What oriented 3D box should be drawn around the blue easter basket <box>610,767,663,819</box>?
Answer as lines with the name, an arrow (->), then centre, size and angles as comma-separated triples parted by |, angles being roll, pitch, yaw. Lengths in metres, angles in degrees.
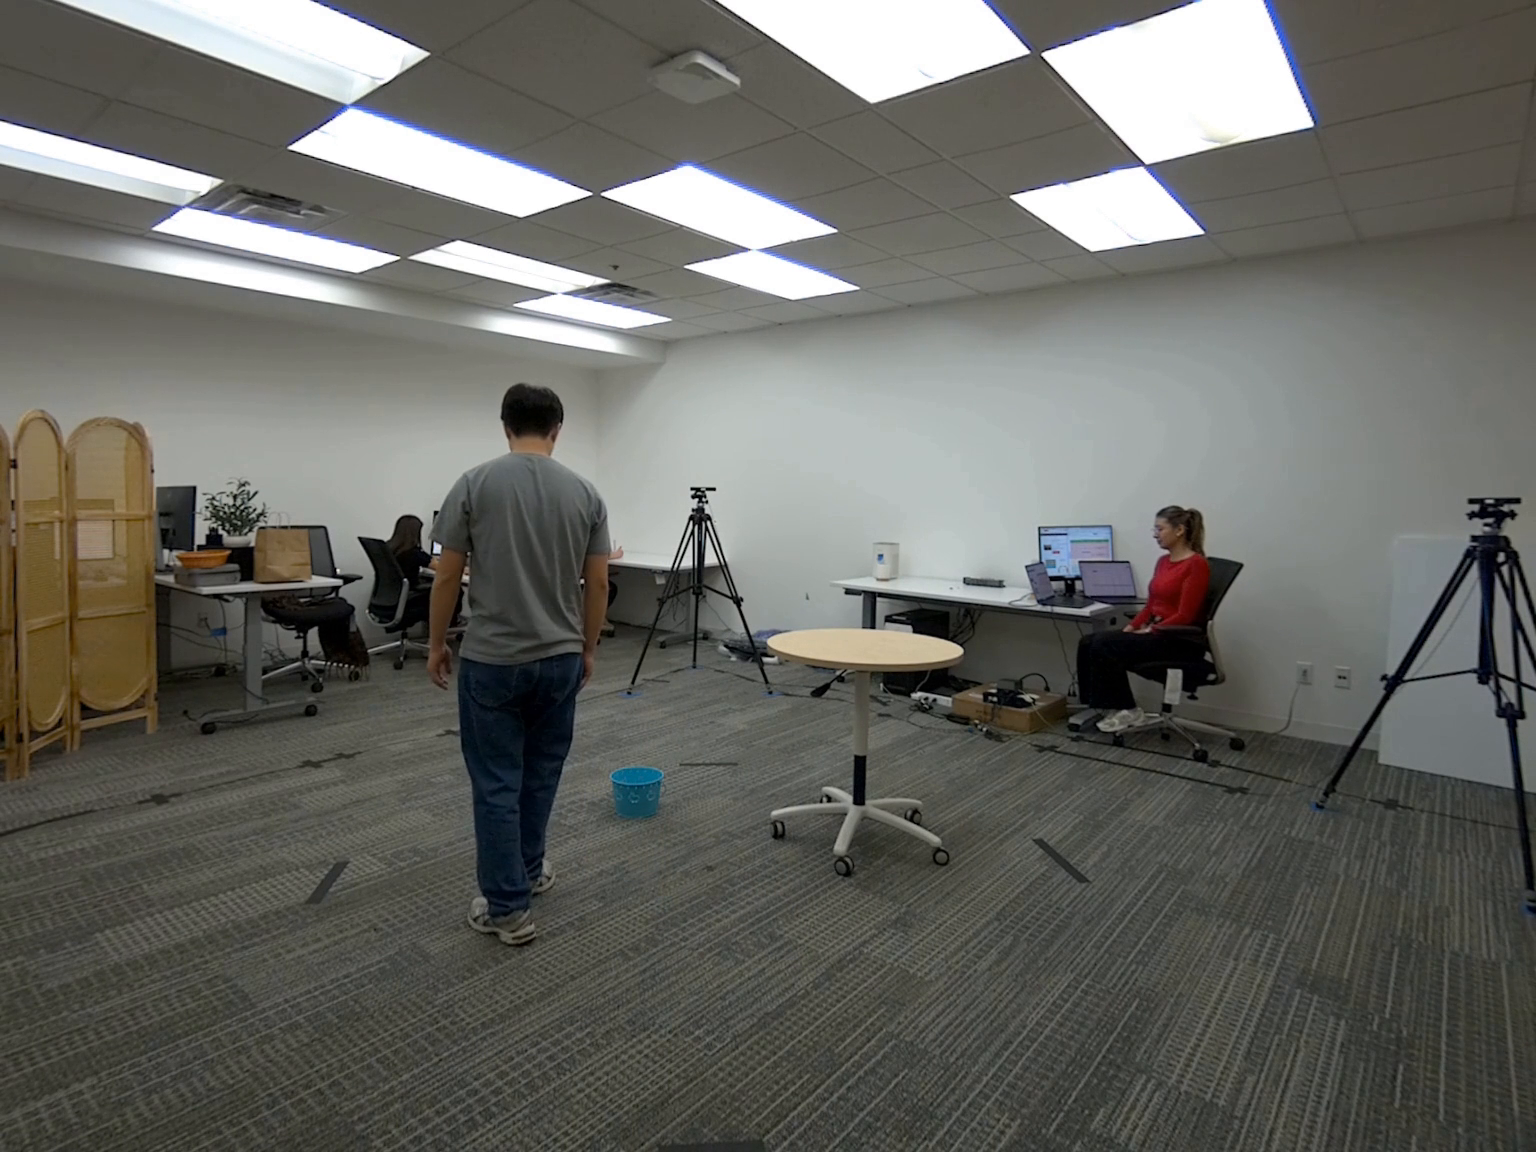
blue easter basket -> -0.571, 0.928, 3.666 | 0.243, 0.155, 0.245 | 0, 6, -2
